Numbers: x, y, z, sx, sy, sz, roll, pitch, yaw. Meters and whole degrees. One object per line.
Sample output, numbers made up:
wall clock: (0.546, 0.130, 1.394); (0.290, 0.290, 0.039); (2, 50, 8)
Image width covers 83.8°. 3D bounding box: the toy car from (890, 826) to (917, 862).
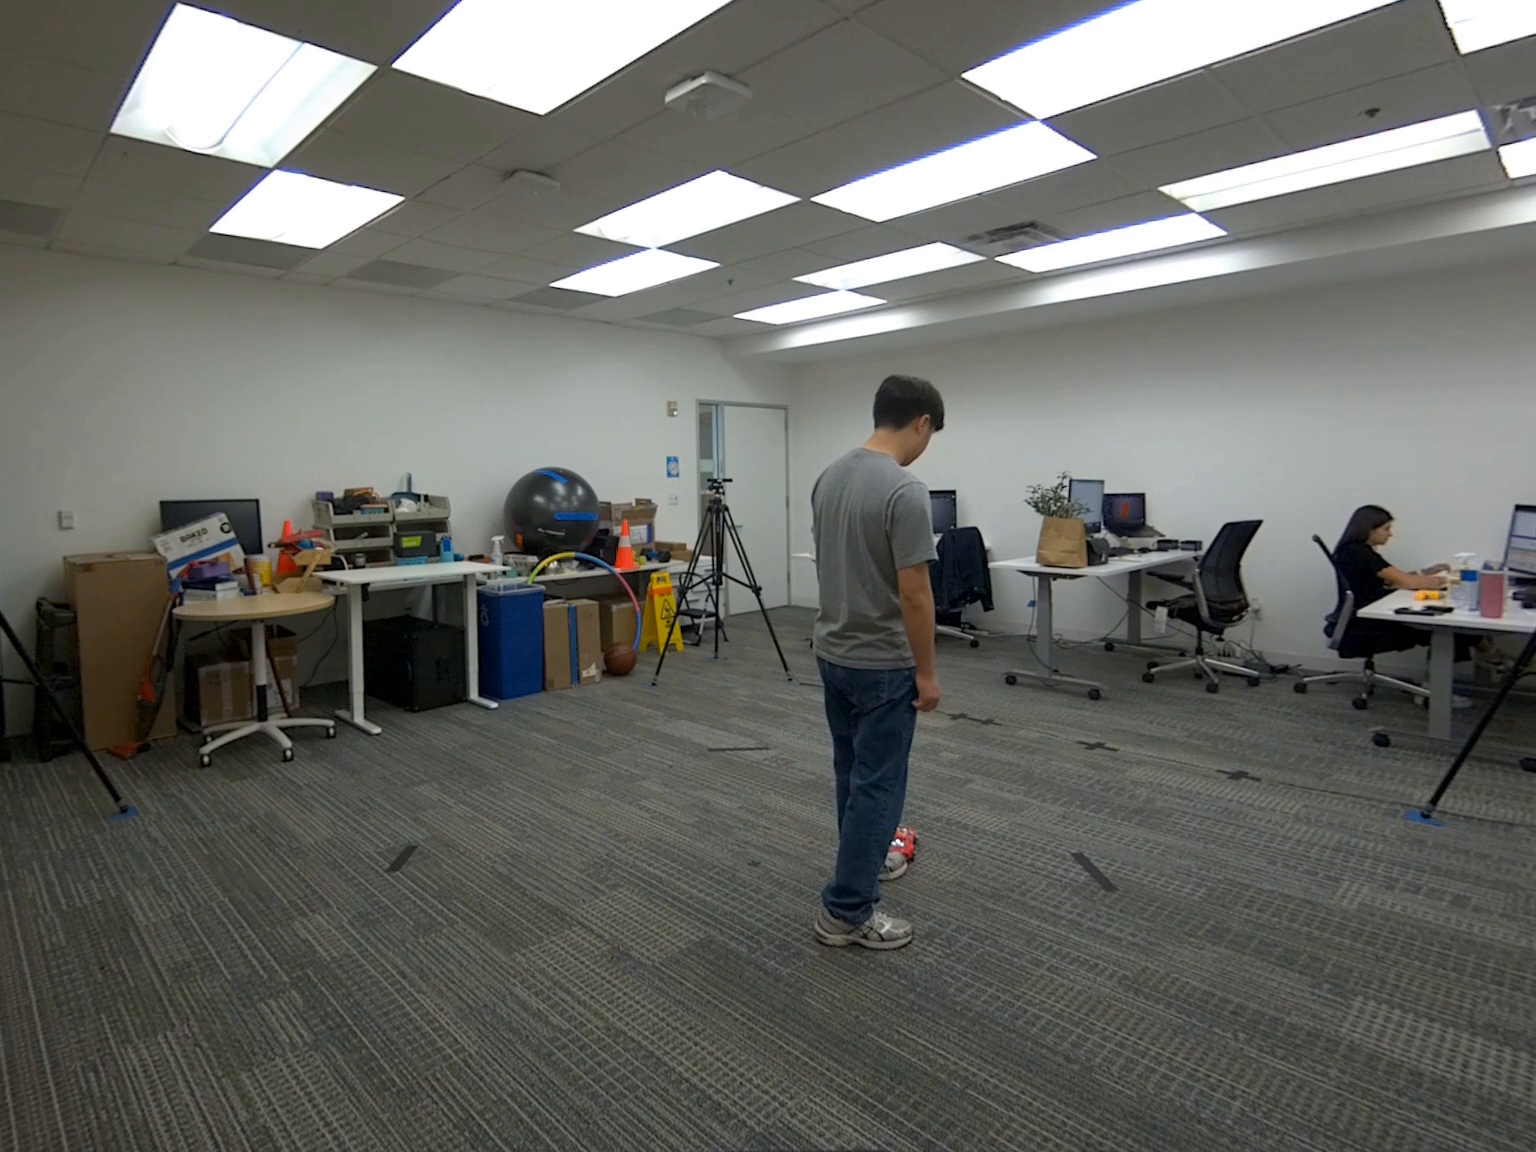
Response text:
toy car: (0.494, 0.994, 3.172); (0.132, 0.083, 0.249); (2, -4, 14)
